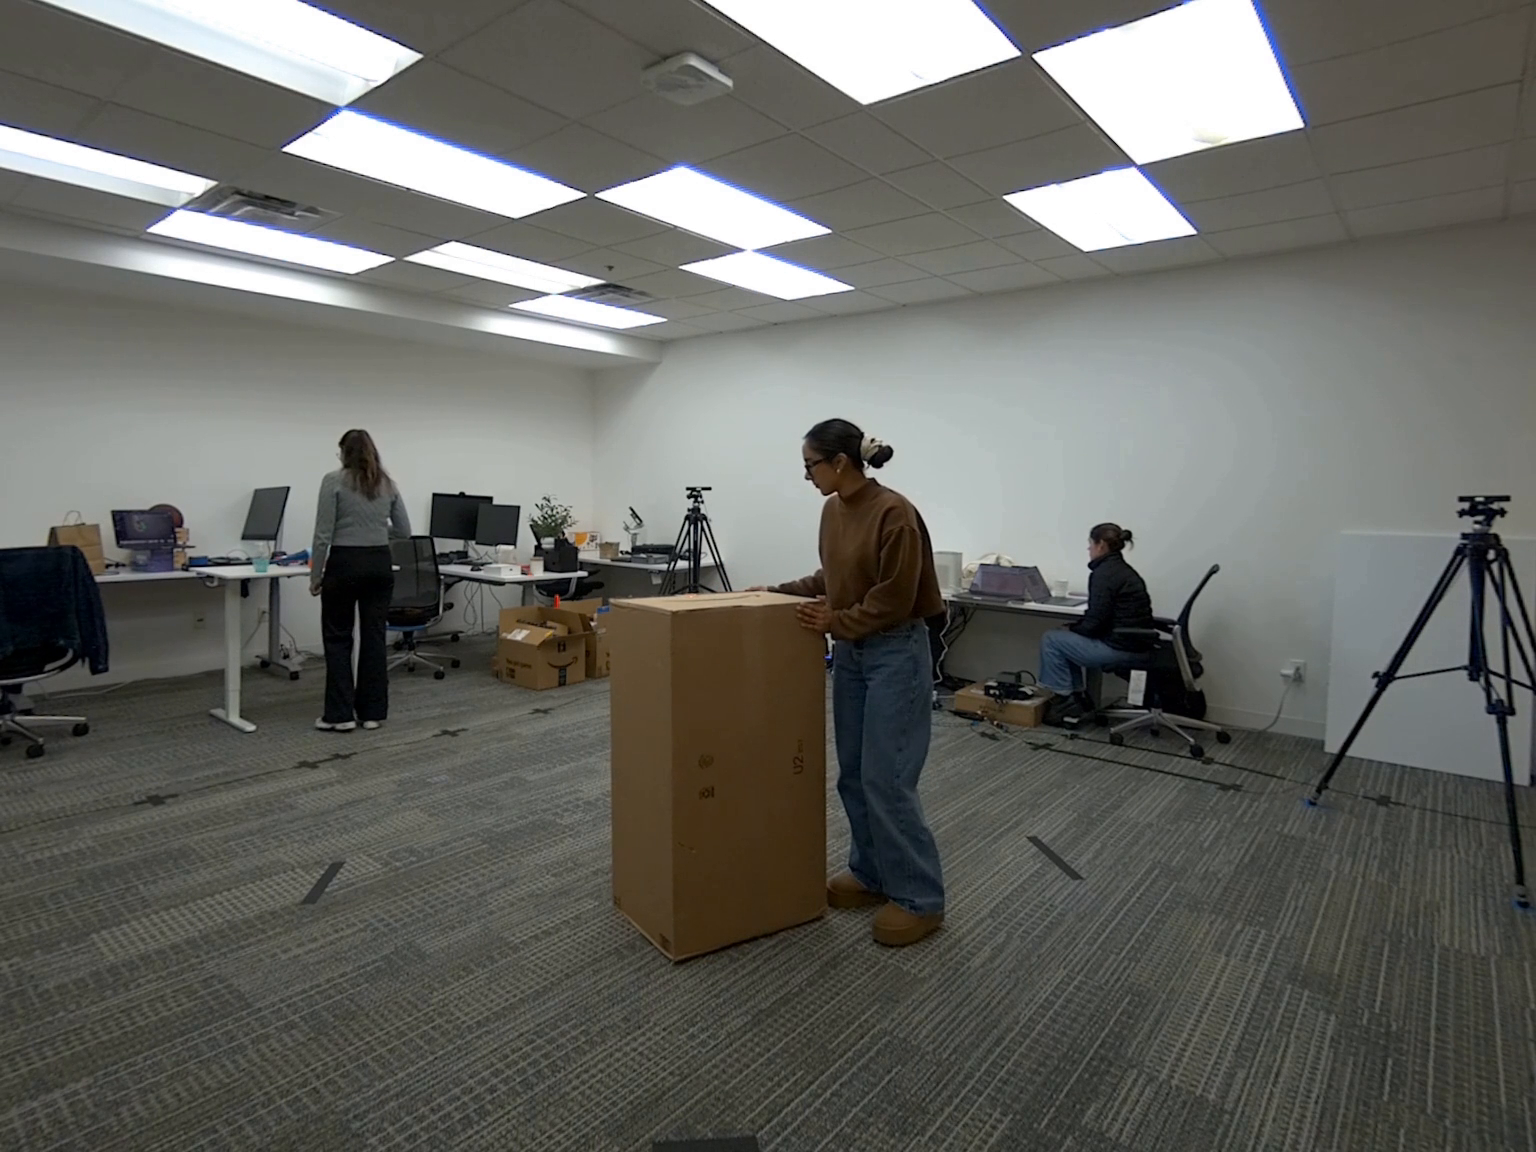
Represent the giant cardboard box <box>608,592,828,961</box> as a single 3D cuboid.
[{"bbox_3d":[-0.179,0.589,2.780,0.561,1.024,0.439,-1,2,-33],"label":"giant cardboard box"}]
